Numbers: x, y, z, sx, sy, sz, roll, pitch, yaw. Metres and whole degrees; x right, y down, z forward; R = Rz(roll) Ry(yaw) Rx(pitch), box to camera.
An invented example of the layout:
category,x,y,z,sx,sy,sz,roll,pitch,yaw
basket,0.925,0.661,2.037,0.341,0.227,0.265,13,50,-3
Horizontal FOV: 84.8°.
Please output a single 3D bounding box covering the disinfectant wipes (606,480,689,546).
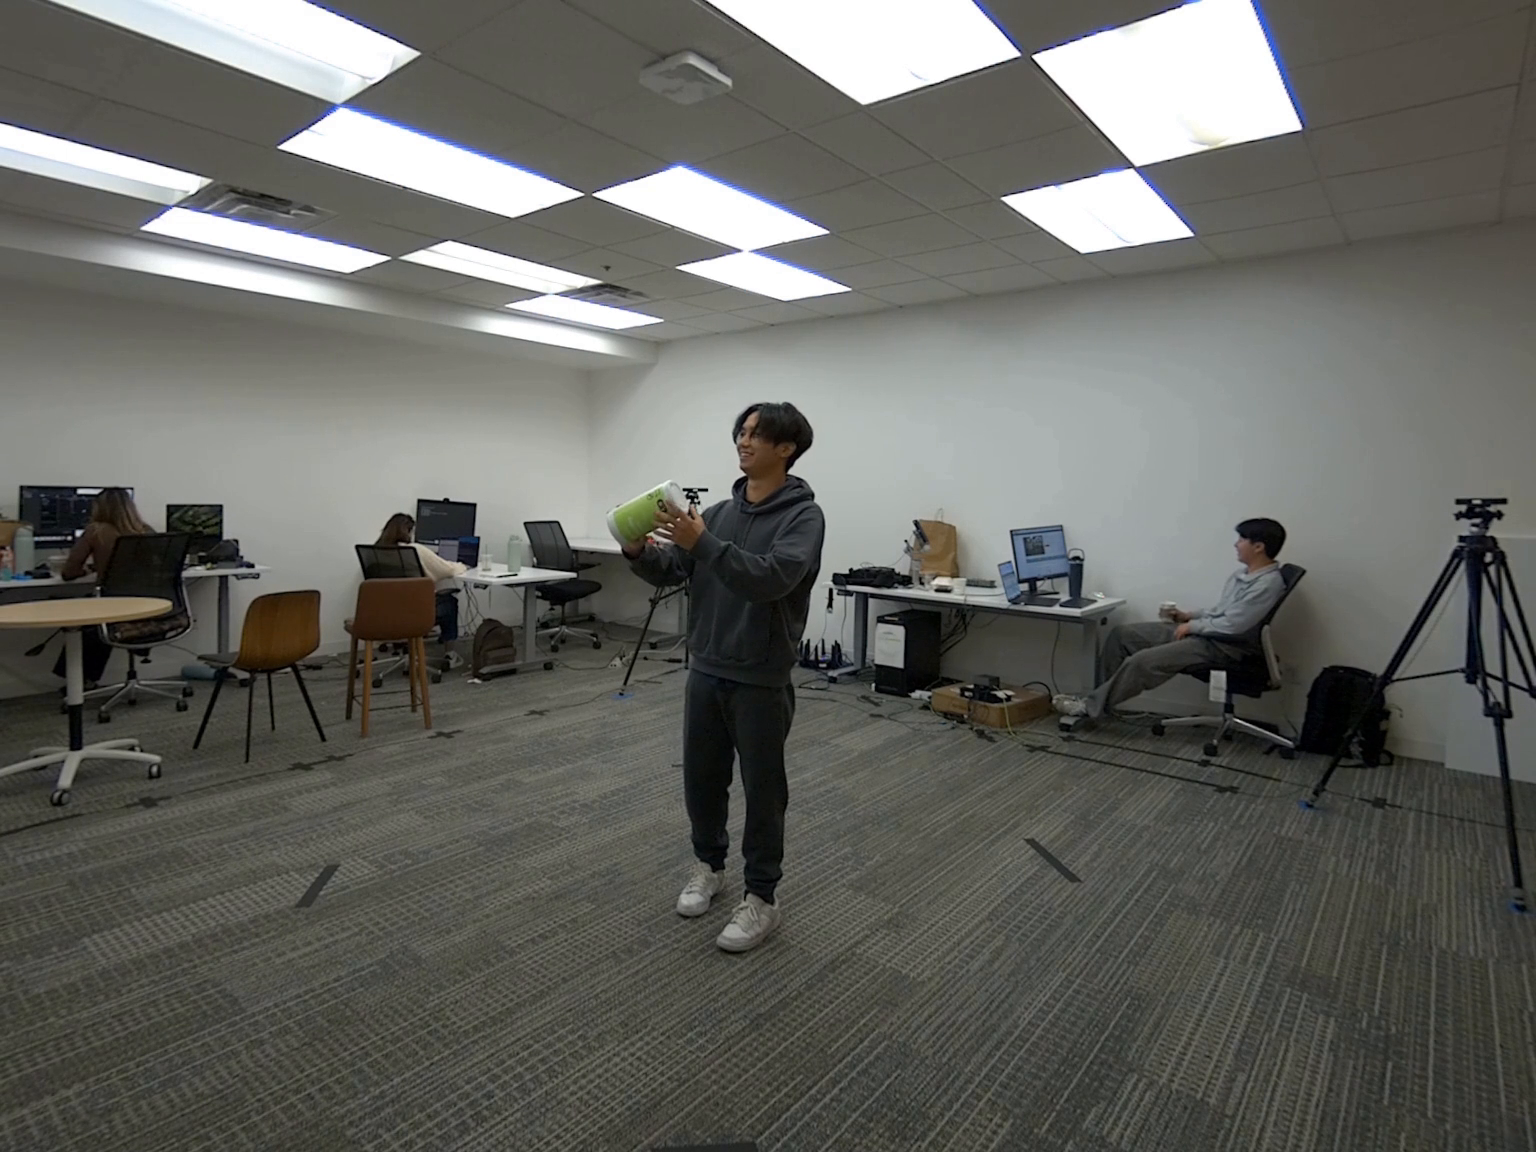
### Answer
category,x,y,z,sx,sy,sz,roll,pitch,yaw
disinfectant wipes,-0.347,-0.180,2.412,0.219,0.118,0.116,-25,-3,15
